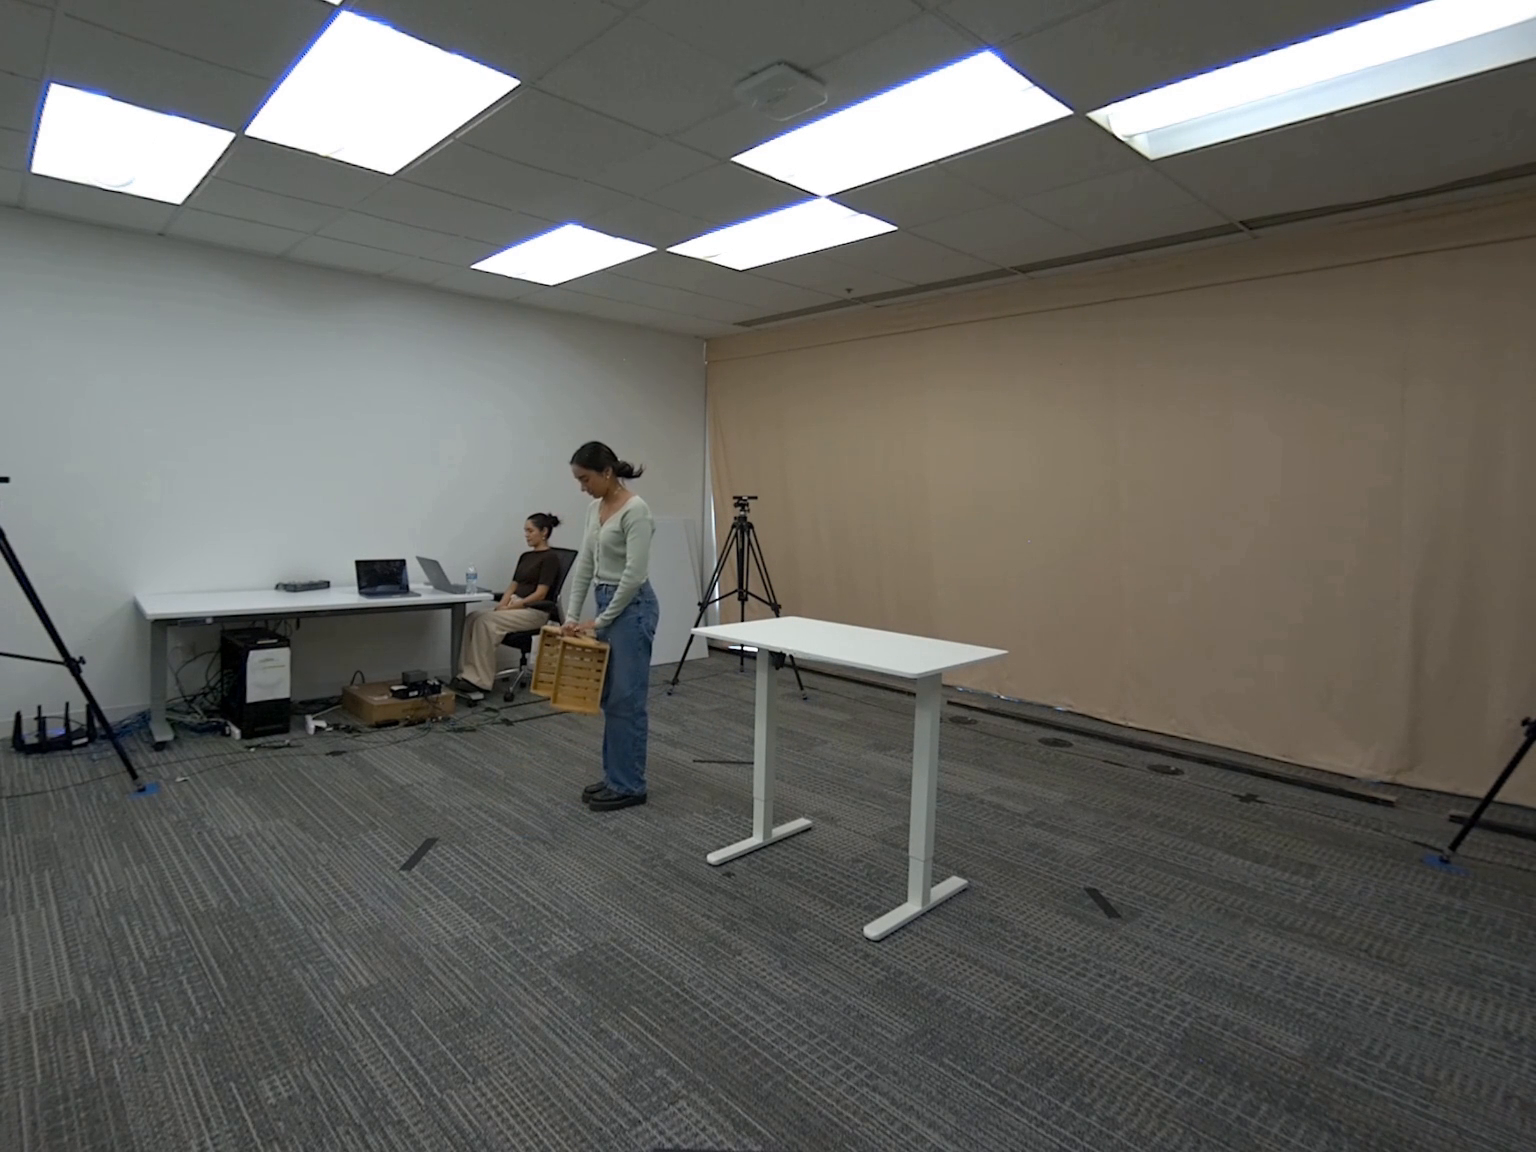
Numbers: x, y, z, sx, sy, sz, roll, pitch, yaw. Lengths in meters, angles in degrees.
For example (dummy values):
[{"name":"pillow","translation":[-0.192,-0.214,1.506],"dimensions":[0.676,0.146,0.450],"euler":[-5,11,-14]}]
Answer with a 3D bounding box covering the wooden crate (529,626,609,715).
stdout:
[{"name":"wooden crate","translation":[-0.883,0.408,3.709],"dimensions":[0.298,0.323,0.277],"euler":[8,6,-14]}]
